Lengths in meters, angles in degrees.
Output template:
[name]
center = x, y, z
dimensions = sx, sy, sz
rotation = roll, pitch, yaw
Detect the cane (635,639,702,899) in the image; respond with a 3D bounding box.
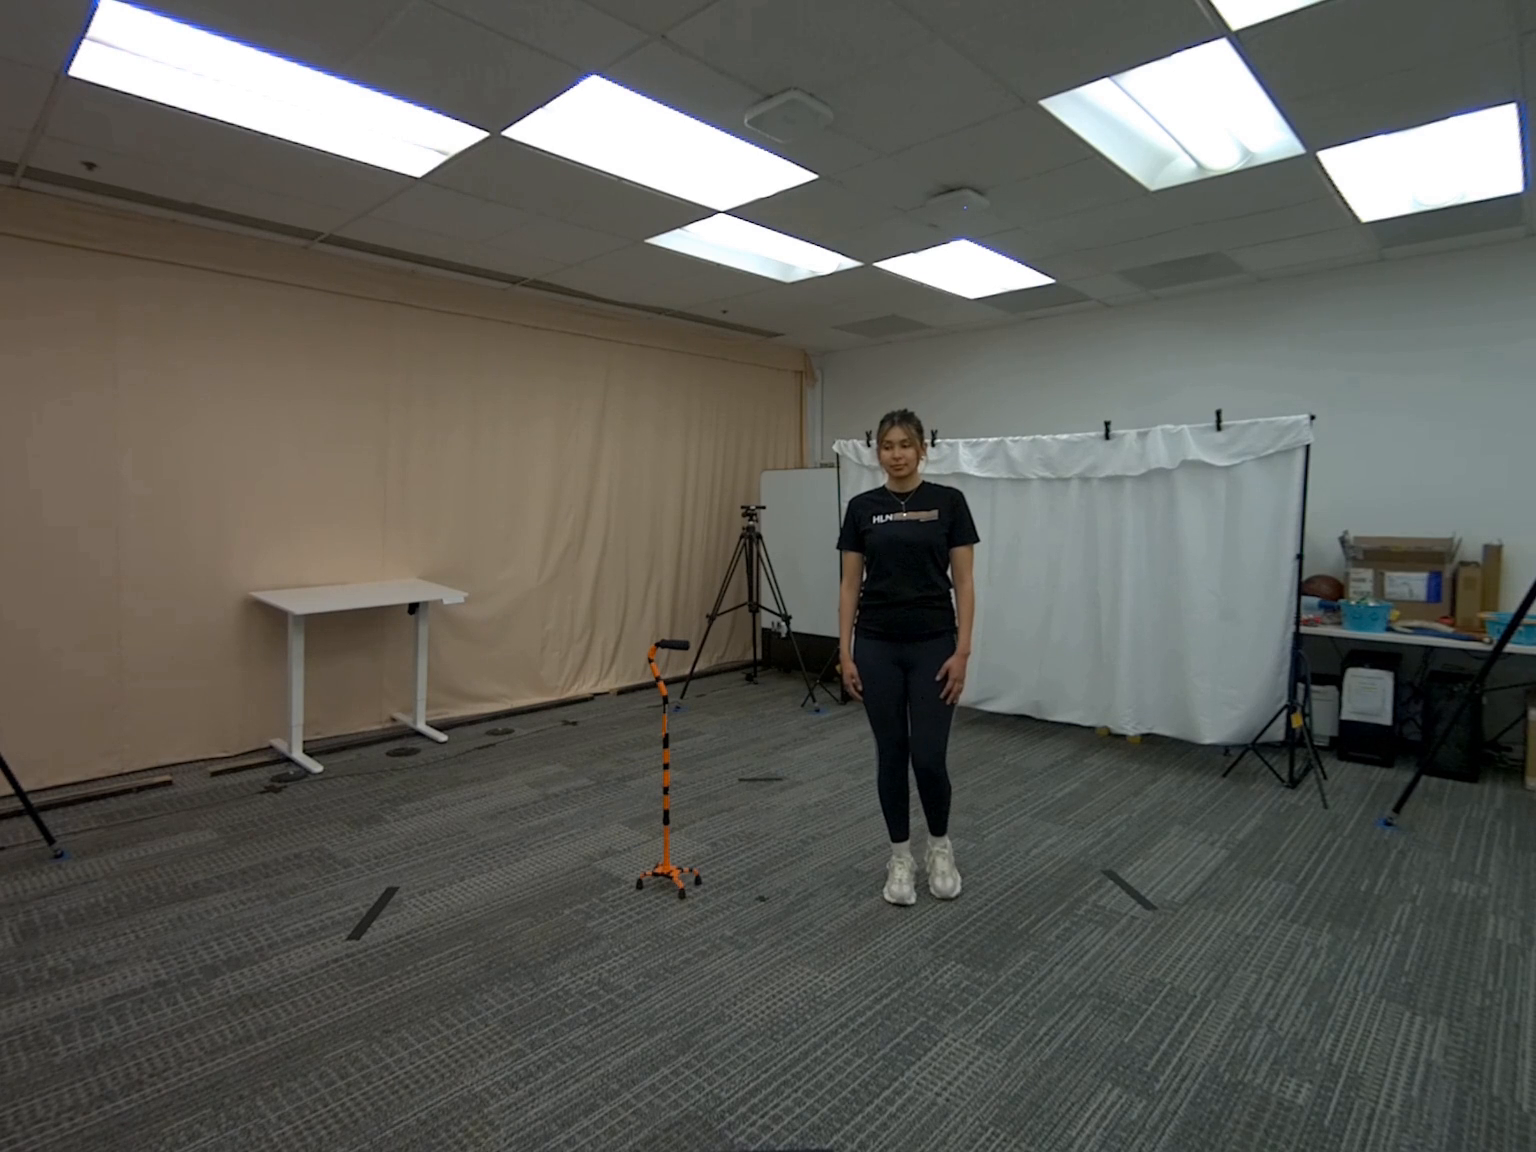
[cane]
center = -0.369, 0.689, 3.071
dimensions = 0.211, 0.906, 0.148
rotation = 0, 3, 24
